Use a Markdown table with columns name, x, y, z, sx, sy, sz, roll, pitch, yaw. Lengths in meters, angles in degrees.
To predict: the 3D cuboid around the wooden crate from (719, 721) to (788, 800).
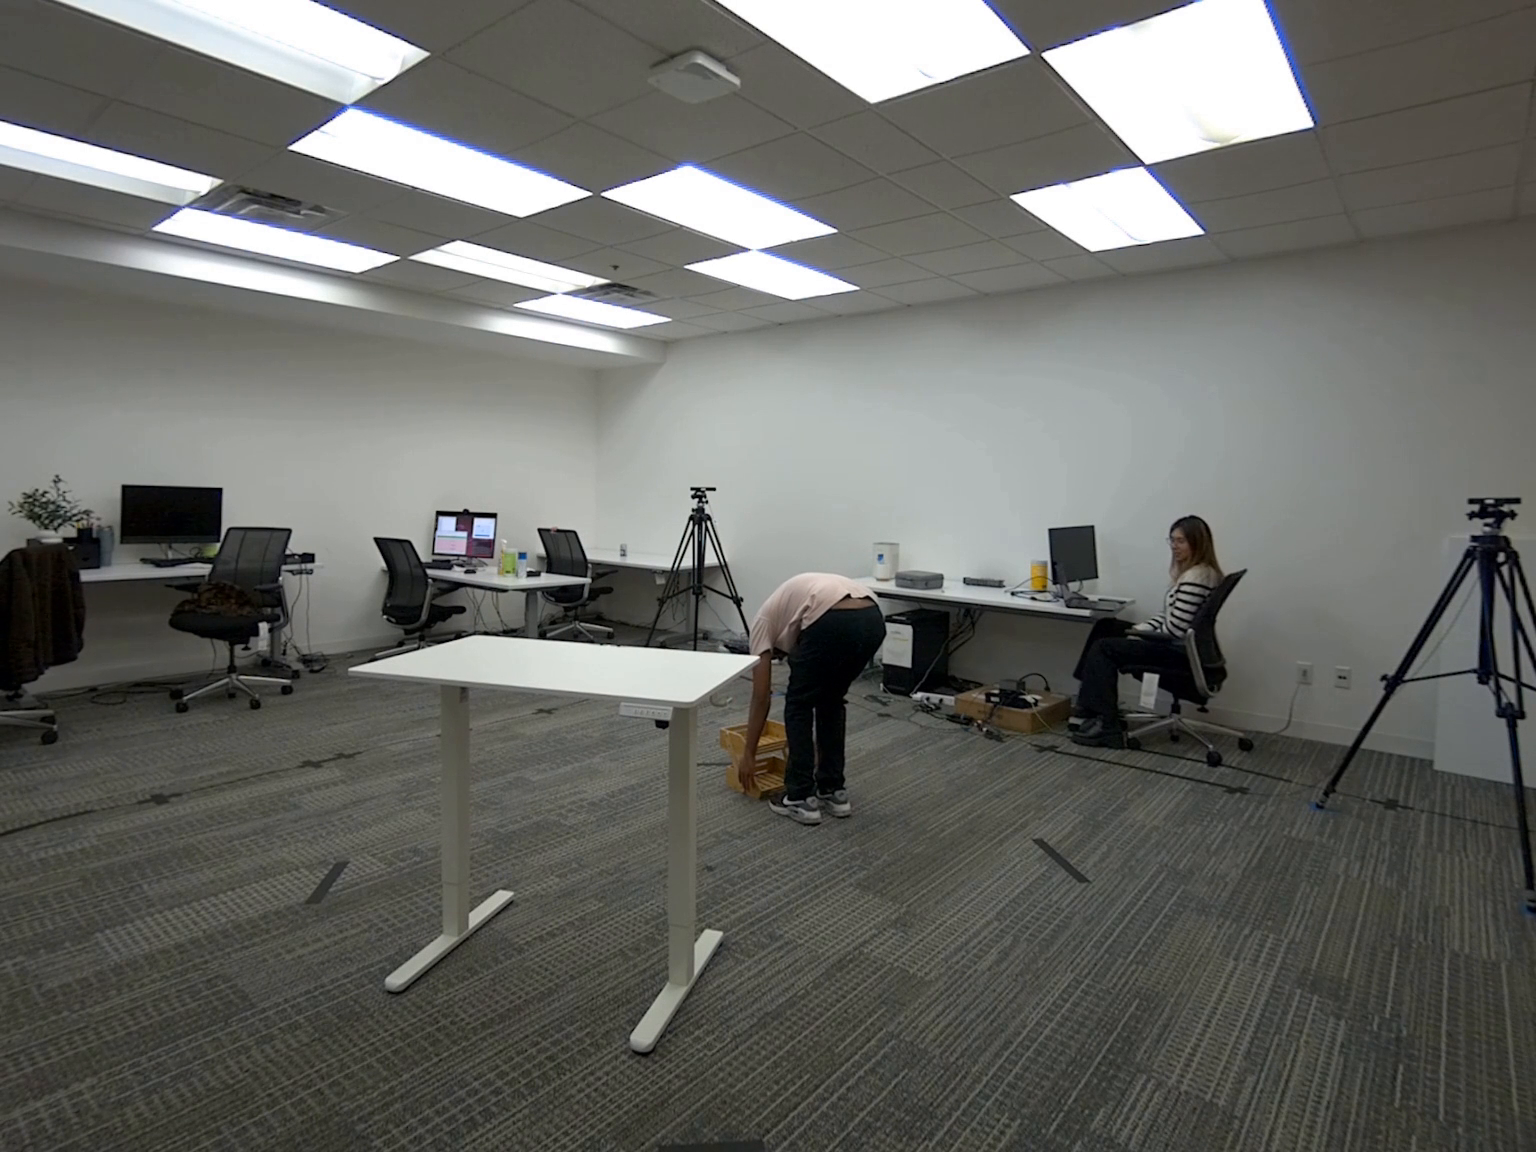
| name | x | y | z | sx | sy | sz | roll | pitch | yaw |
| --- | --- | --- | --- | --- | --- | --- | --- | --- | --- |
| wooden crate | -0.028 | 0.847 | 4.004 | 0.315 | 0.272 | 0.312 | -3 | 6 | -40 |
